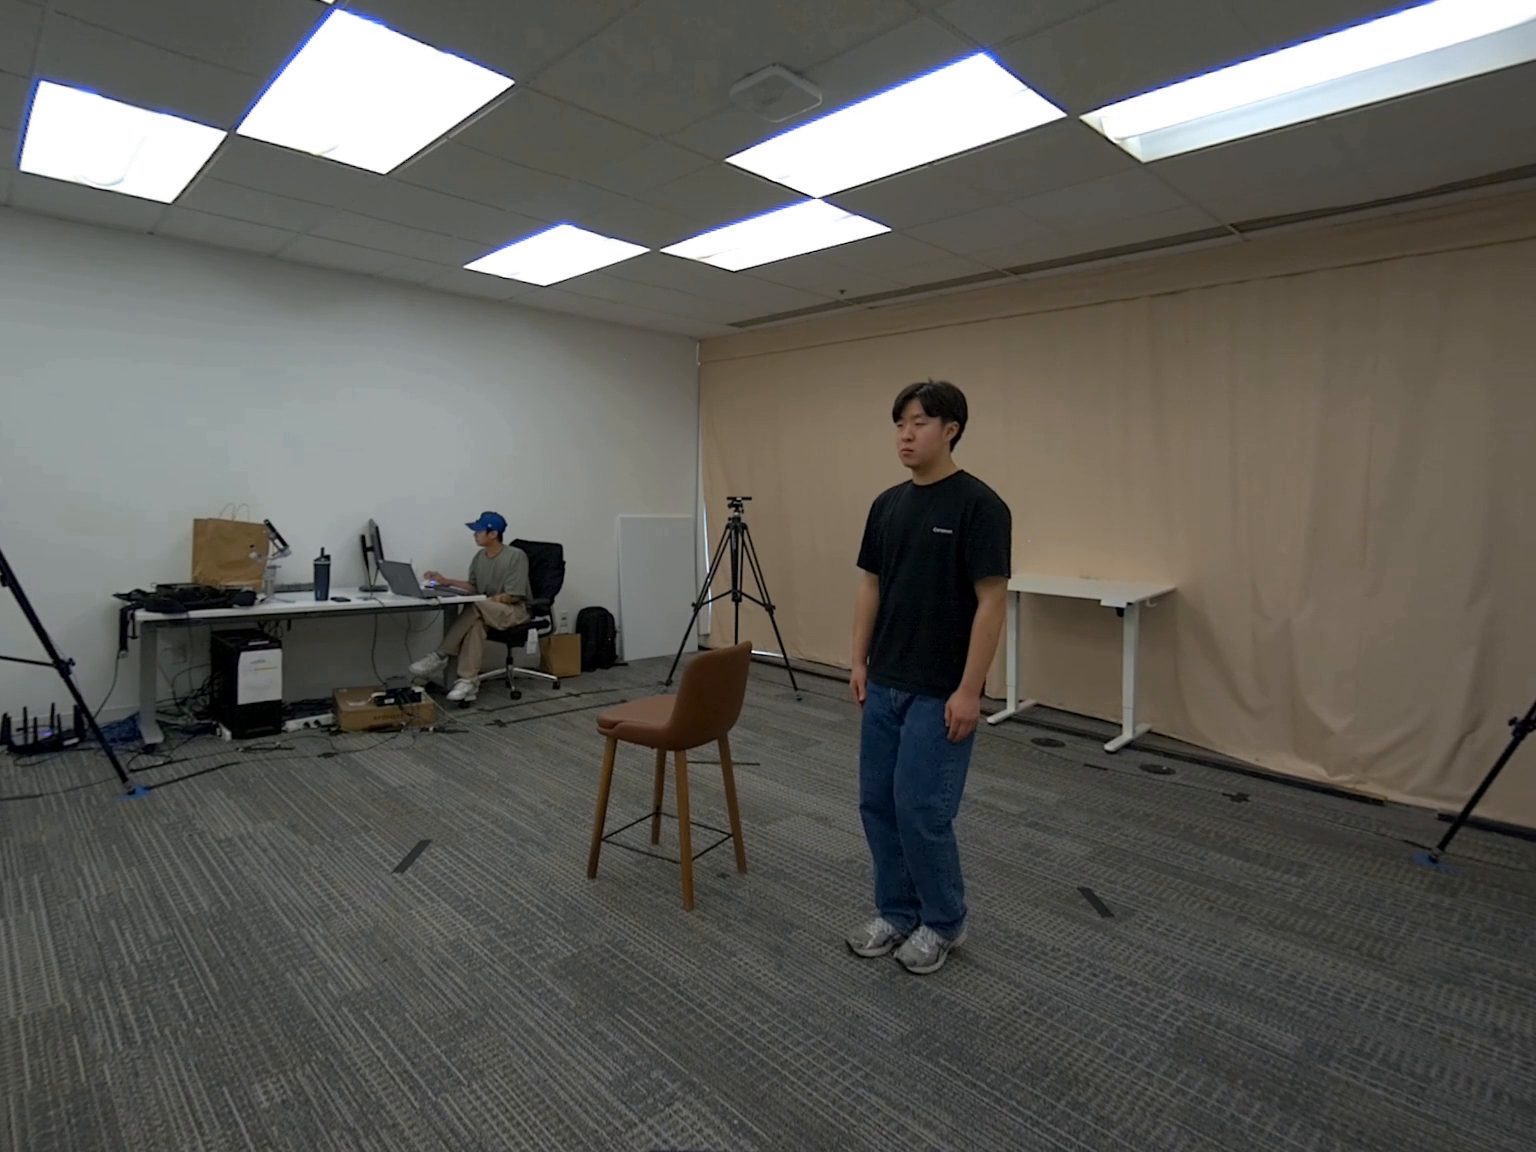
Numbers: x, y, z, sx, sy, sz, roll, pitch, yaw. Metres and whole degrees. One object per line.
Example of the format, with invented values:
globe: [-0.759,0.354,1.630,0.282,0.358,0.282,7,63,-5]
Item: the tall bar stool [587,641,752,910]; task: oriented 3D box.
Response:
tall bar stool: [-0.353,0.669,3.080,0.478,0.887,0.447,5,6,32]
